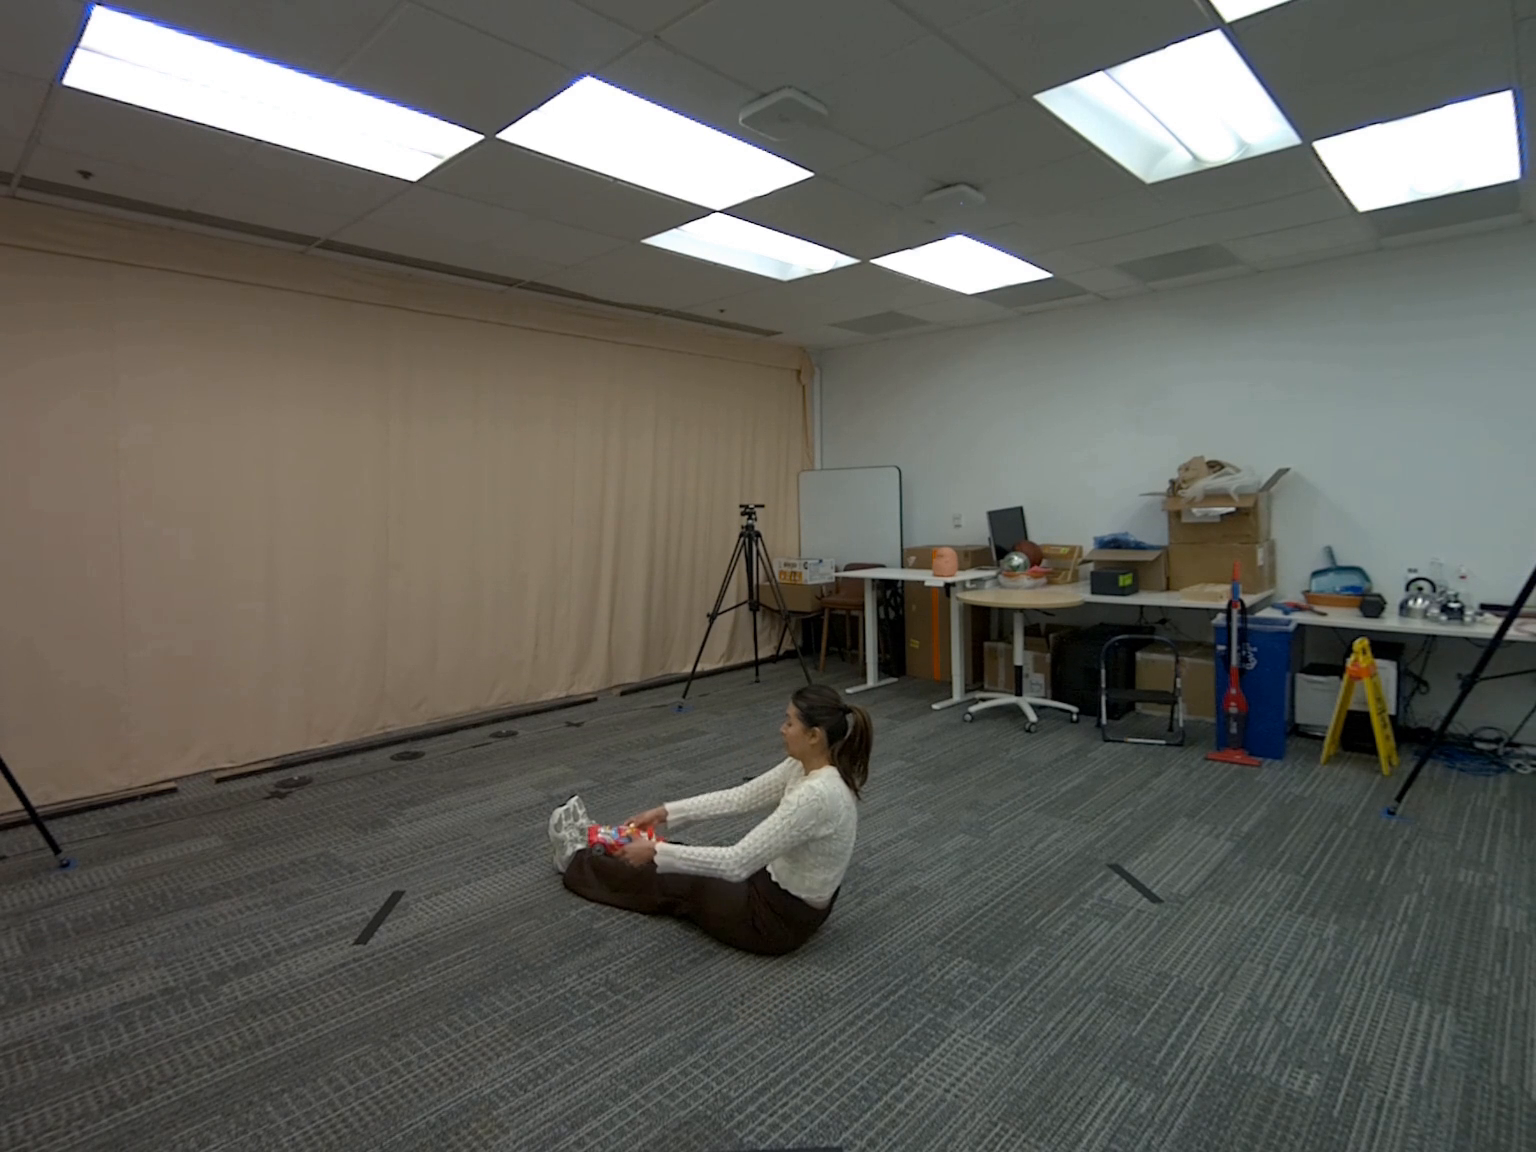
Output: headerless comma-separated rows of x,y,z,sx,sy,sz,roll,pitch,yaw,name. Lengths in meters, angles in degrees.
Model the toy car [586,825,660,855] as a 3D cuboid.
-0.429,0.842,2.643,0.251,0.083,0.132,2,8,-12,toy car
